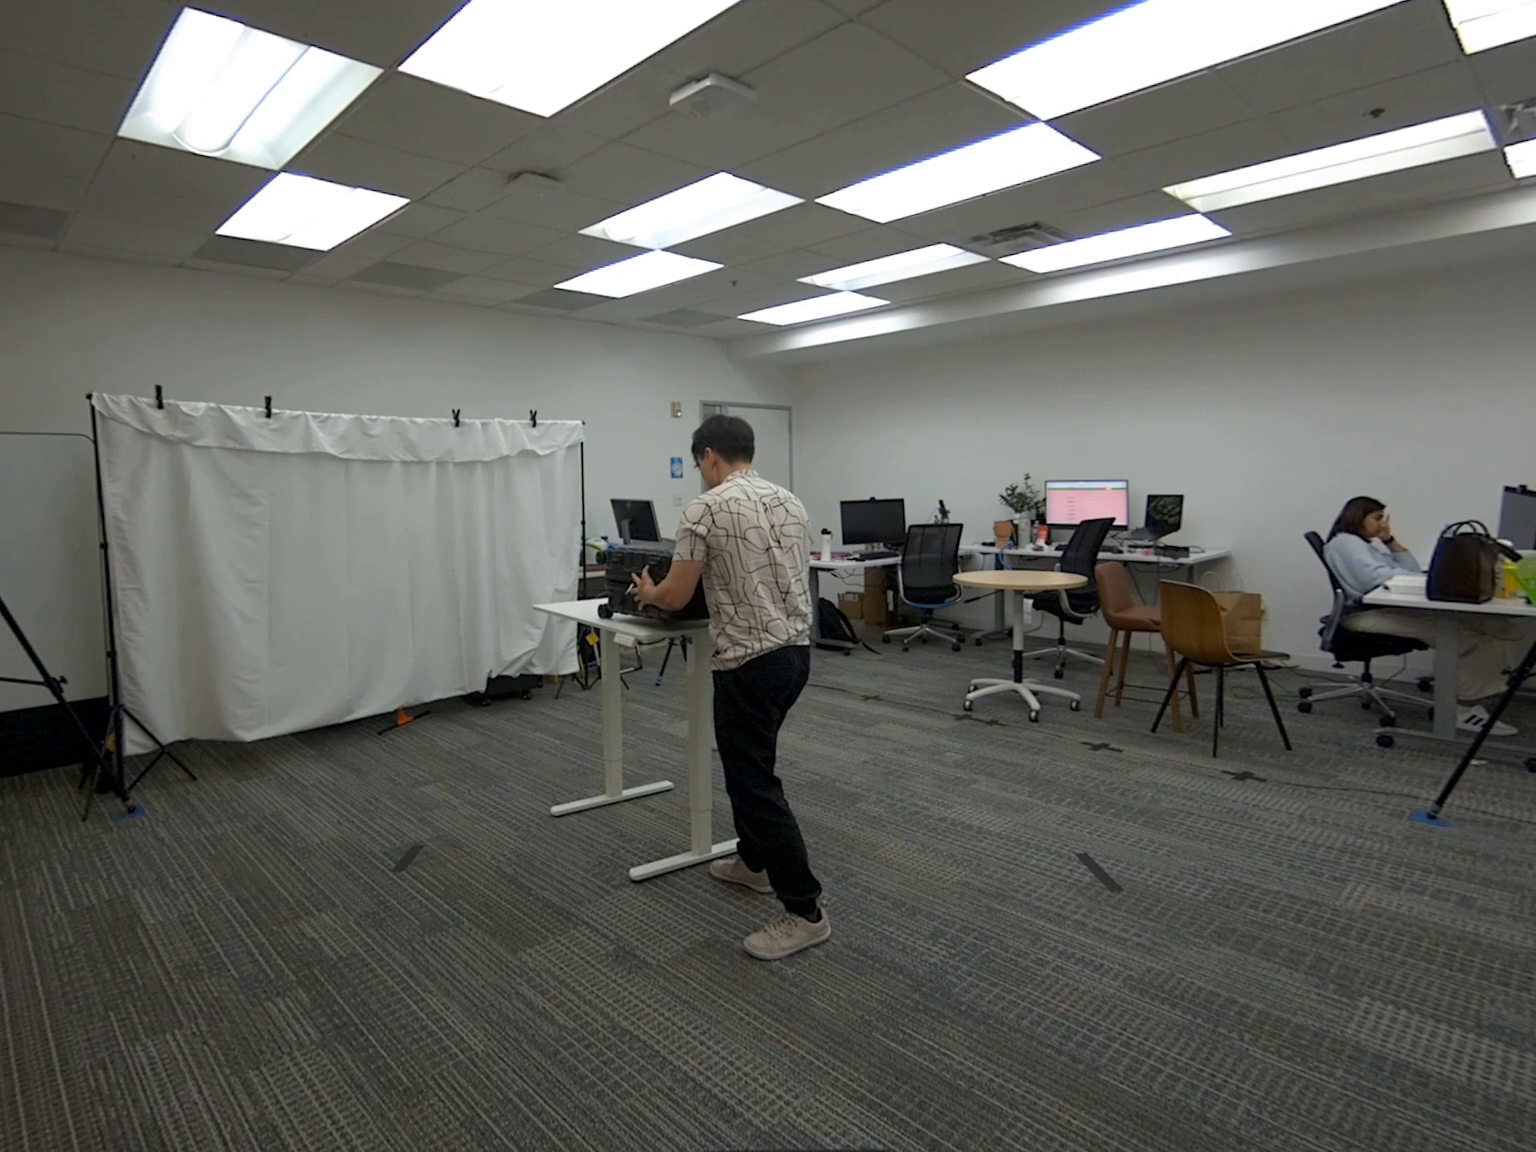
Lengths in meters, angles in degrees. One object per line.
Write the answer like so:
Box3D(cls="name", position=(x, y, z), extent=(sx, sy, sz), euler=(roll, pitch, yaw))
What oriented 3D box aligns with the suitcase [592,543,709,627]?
Box3D(cls="suitcase", position=(-0.334, 0.015, 3.107), extent=(0.366, 0.248, 0.565), euler=(-5, 4, -38))
